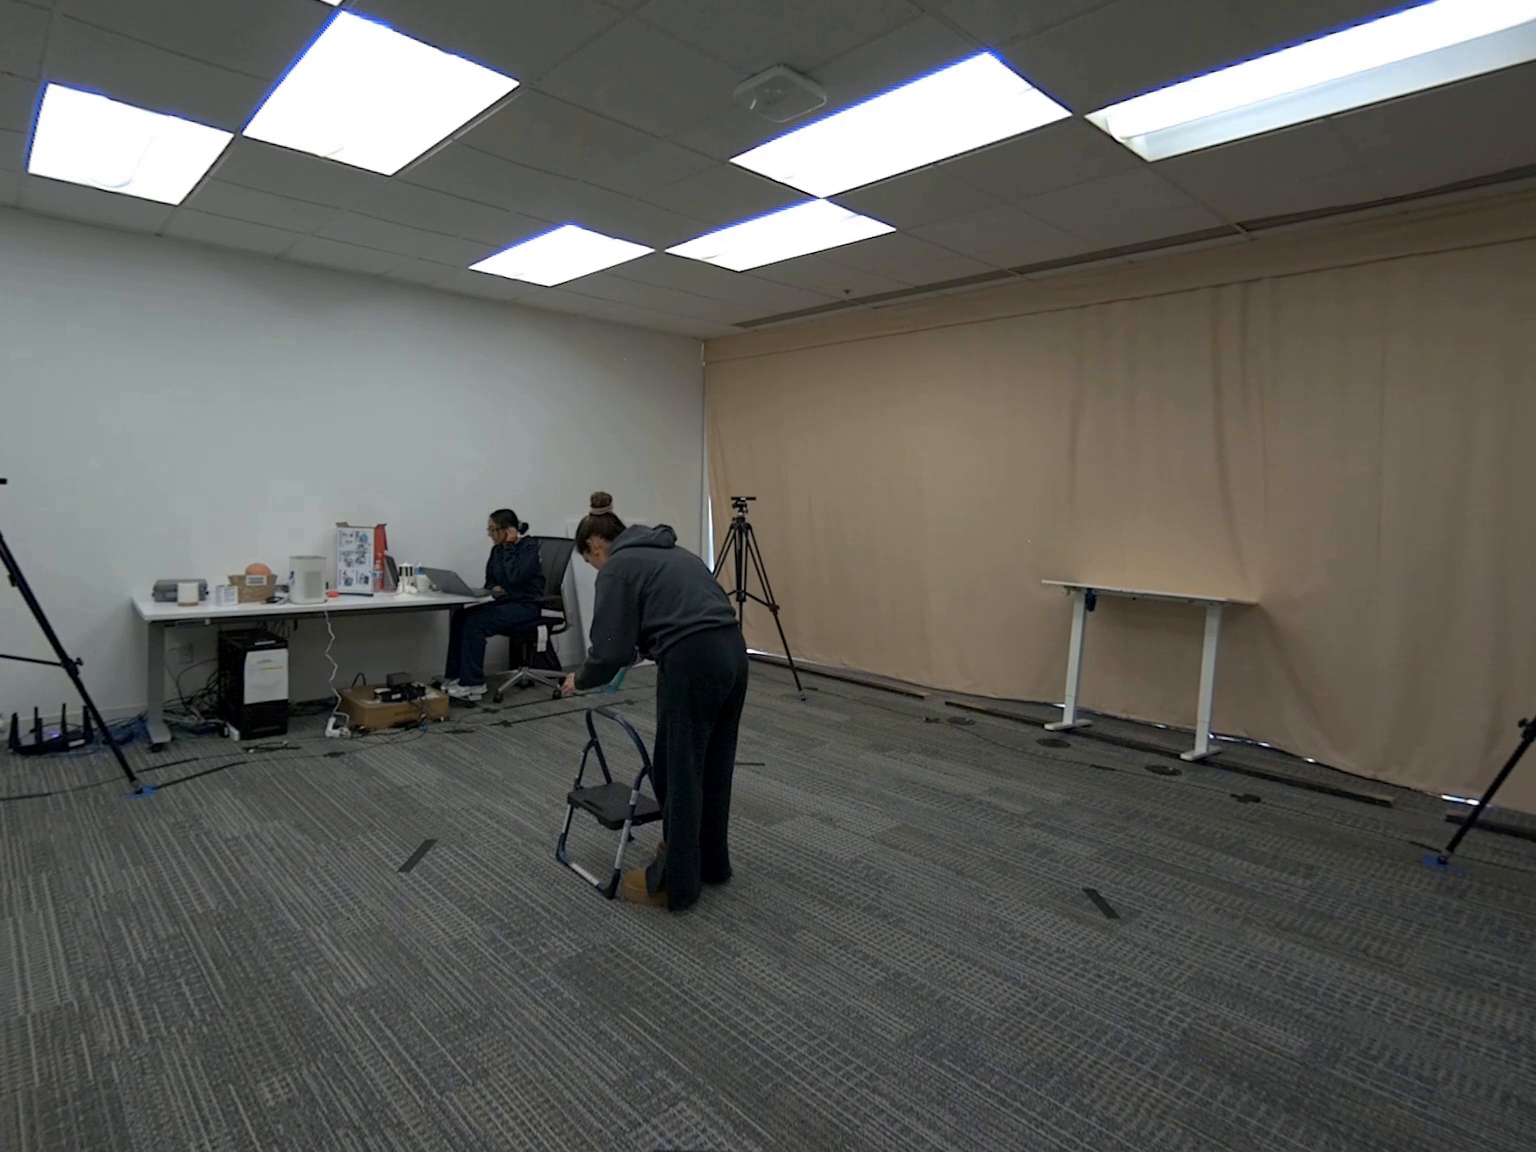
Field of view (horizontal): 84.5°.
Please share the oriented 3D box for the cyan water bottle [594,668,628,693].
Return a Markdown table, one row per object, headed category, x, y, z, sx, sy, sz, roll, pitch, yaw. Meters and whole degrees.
| category | x | y | z | sx | sy | sz | roll | pitch | yaw |
| --- | --- | --- | --- | --- | --- | --- | --- | --- | --- |
| cyan water bottle | -0.584 | 0.334 | 3.259 | 0.093 | 0.287 | 0.090 | 13 | -37 | 9 |
